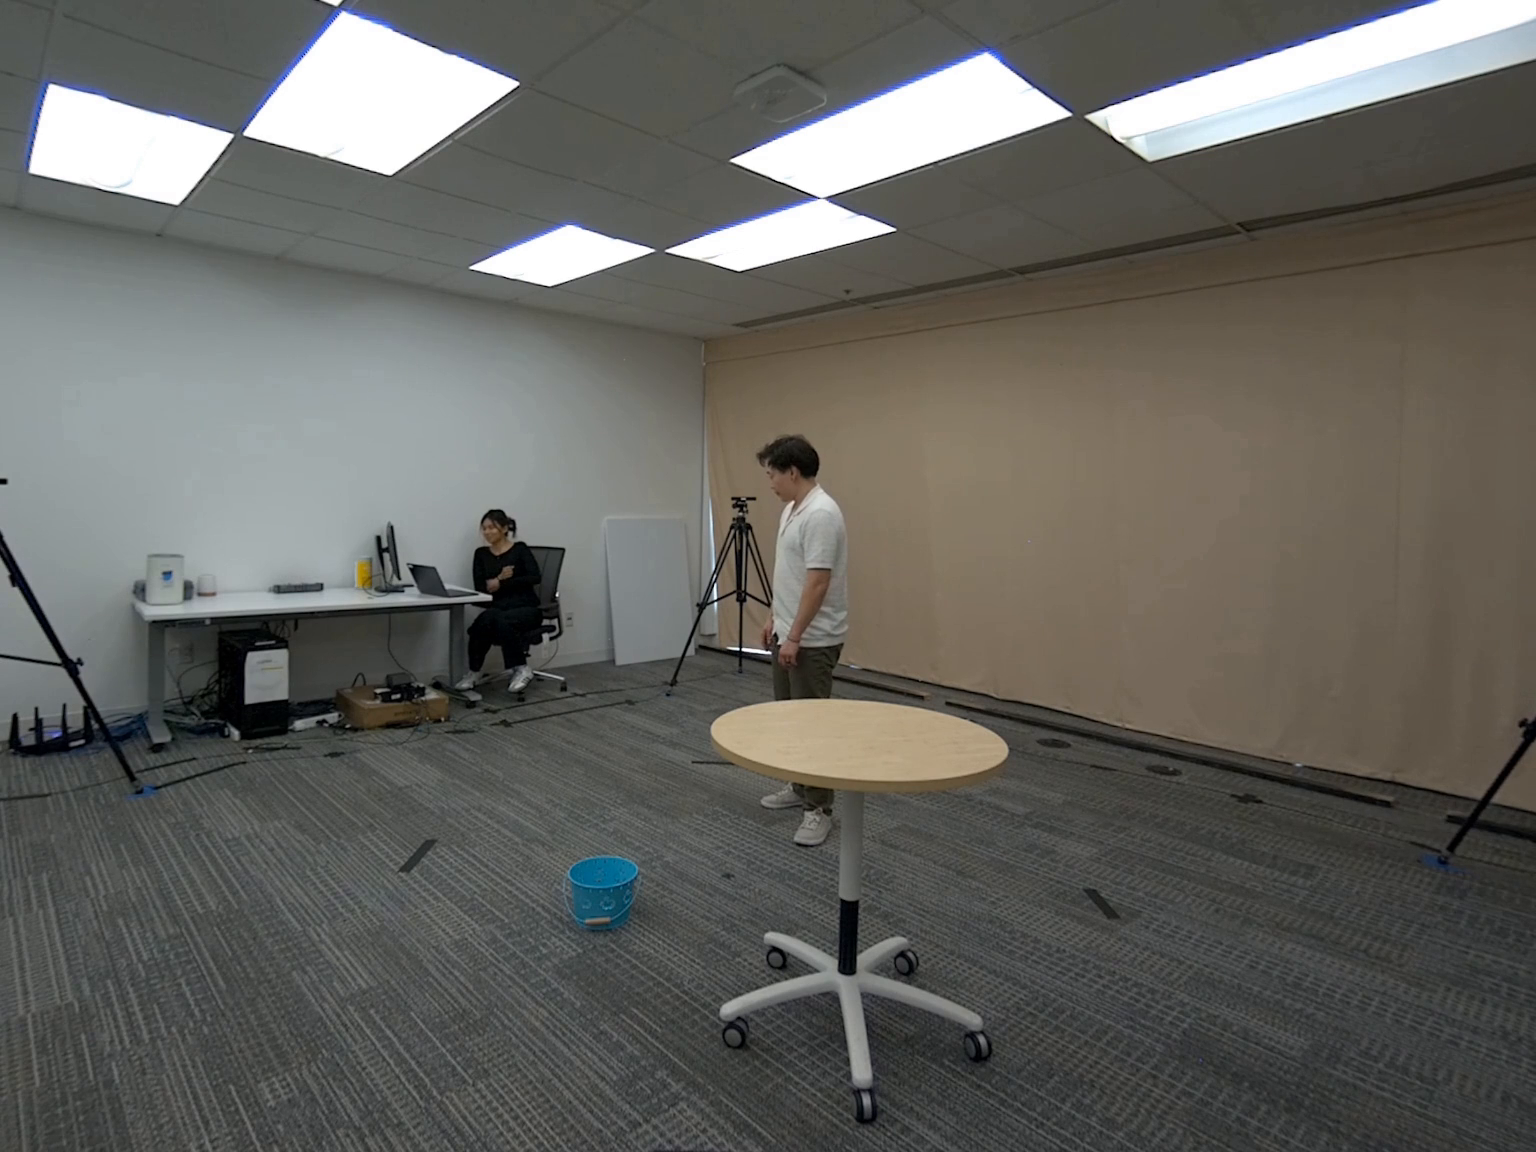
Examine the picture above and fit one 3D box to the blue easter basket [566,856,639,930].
[{"bbox_3d":[-0.552,1.049,2.776,0.243,0.155,0.244,1,4,-1],"label":"blue easter basket"}]
